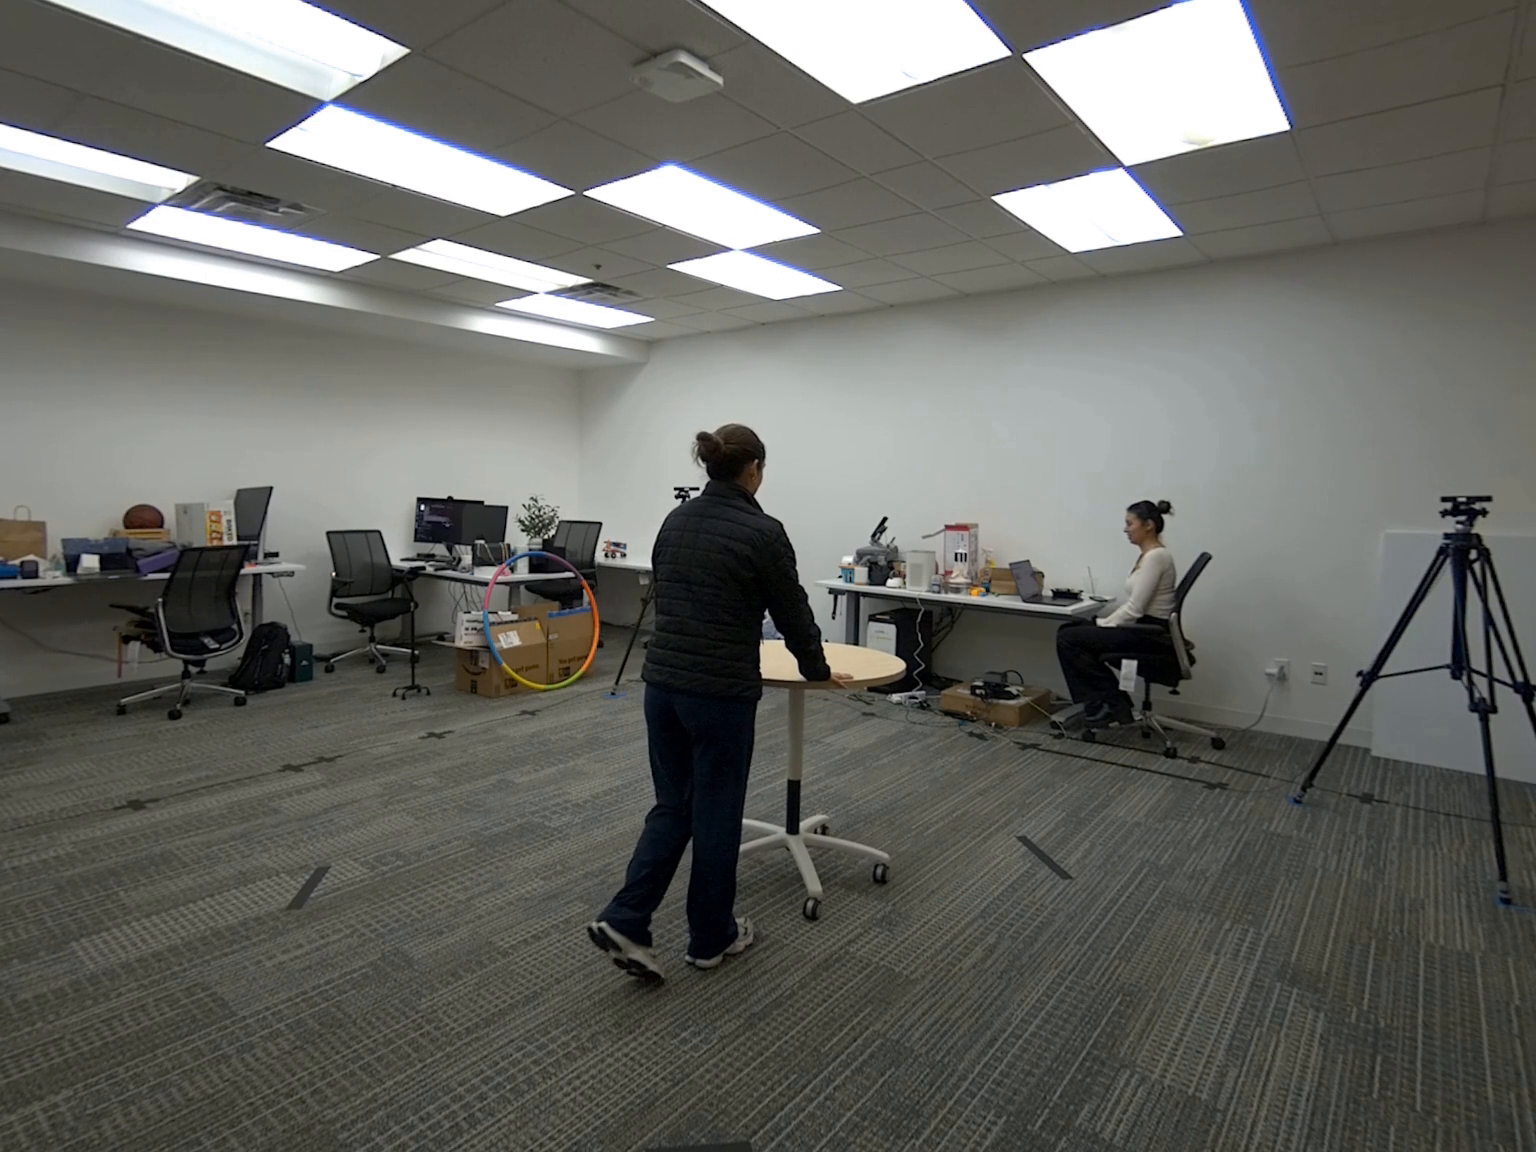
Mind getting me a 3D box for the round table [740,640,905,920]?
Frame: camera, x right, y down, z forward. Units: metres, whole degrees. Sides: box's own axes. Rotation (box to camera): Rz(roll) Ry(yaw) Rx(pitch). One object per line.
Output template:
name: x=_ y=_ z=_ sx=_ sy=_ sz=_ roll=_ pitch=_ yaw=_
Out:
round table: x=0.112 y=0.681 z=3.078 sx=0.784 sy=0.784 sz=0.788 roll=1 pitch=4 yaw=-2
